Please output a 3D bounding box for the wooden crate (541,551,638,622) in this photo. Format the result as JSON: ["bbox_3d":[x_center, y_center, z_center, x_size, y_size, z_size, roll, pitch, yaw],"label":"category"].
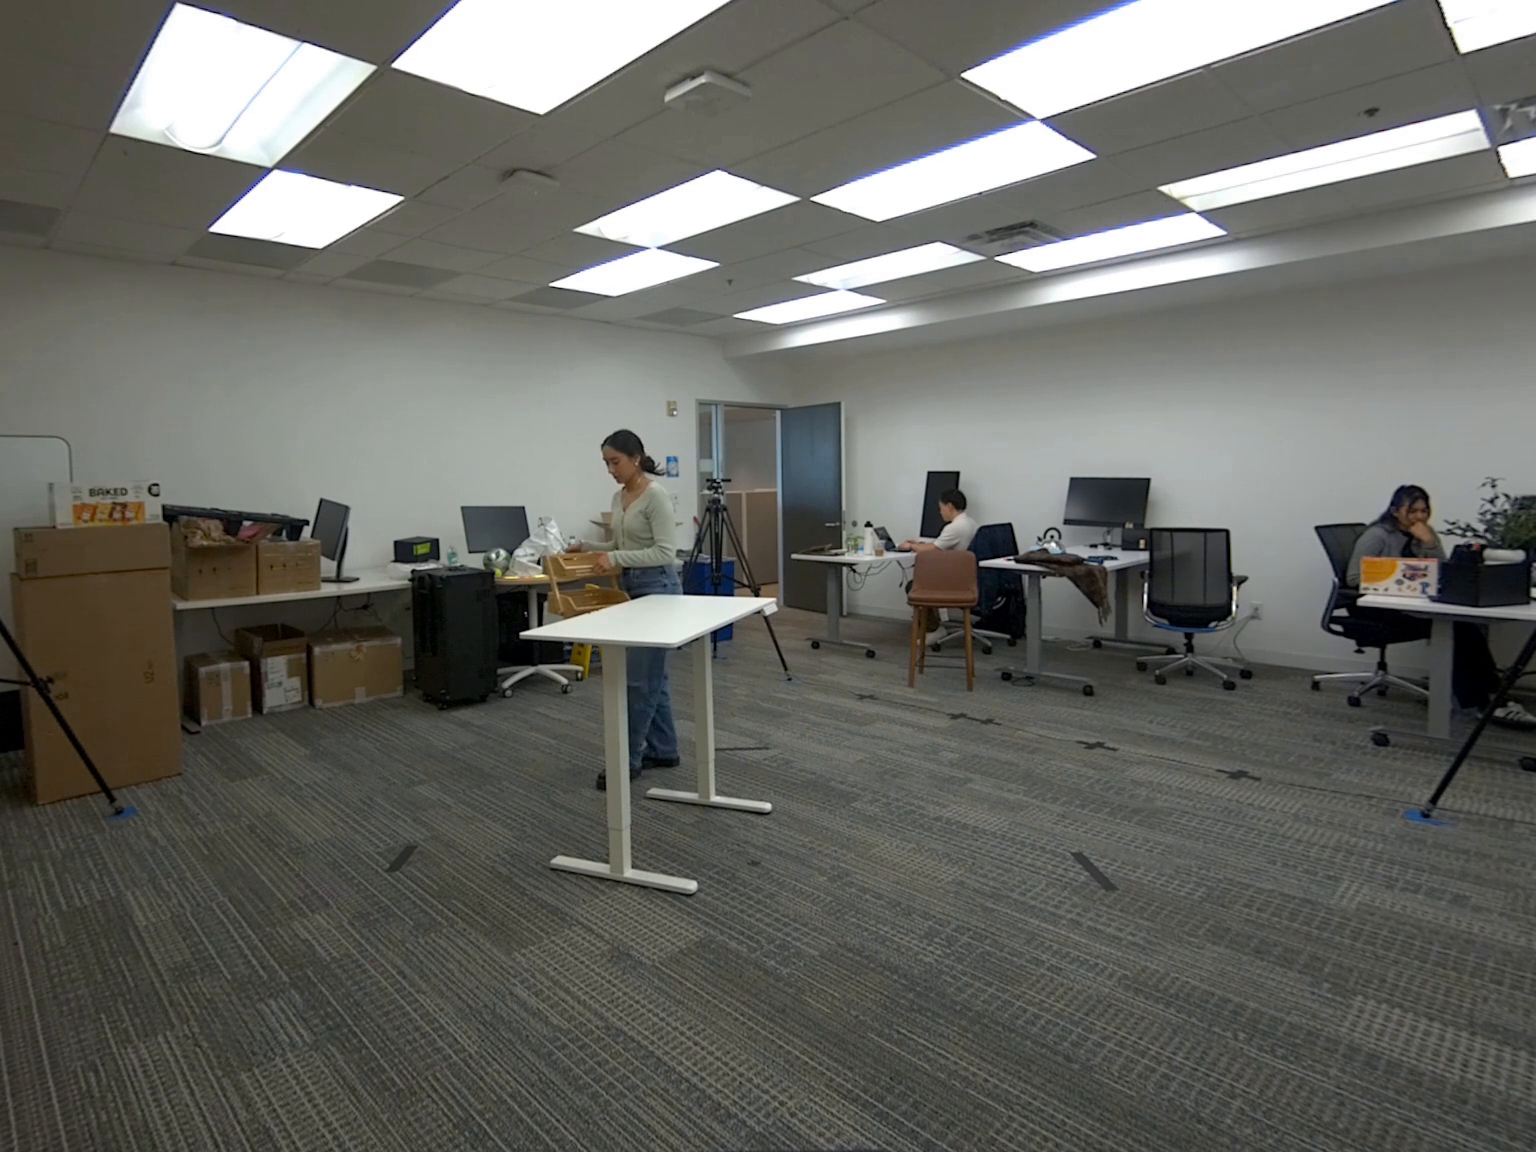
[{"bbox_3d":[-0.817,0.032,3.904,0.316,0.272,0.312,-4,7,-41],"label":"wooden crate"}]
